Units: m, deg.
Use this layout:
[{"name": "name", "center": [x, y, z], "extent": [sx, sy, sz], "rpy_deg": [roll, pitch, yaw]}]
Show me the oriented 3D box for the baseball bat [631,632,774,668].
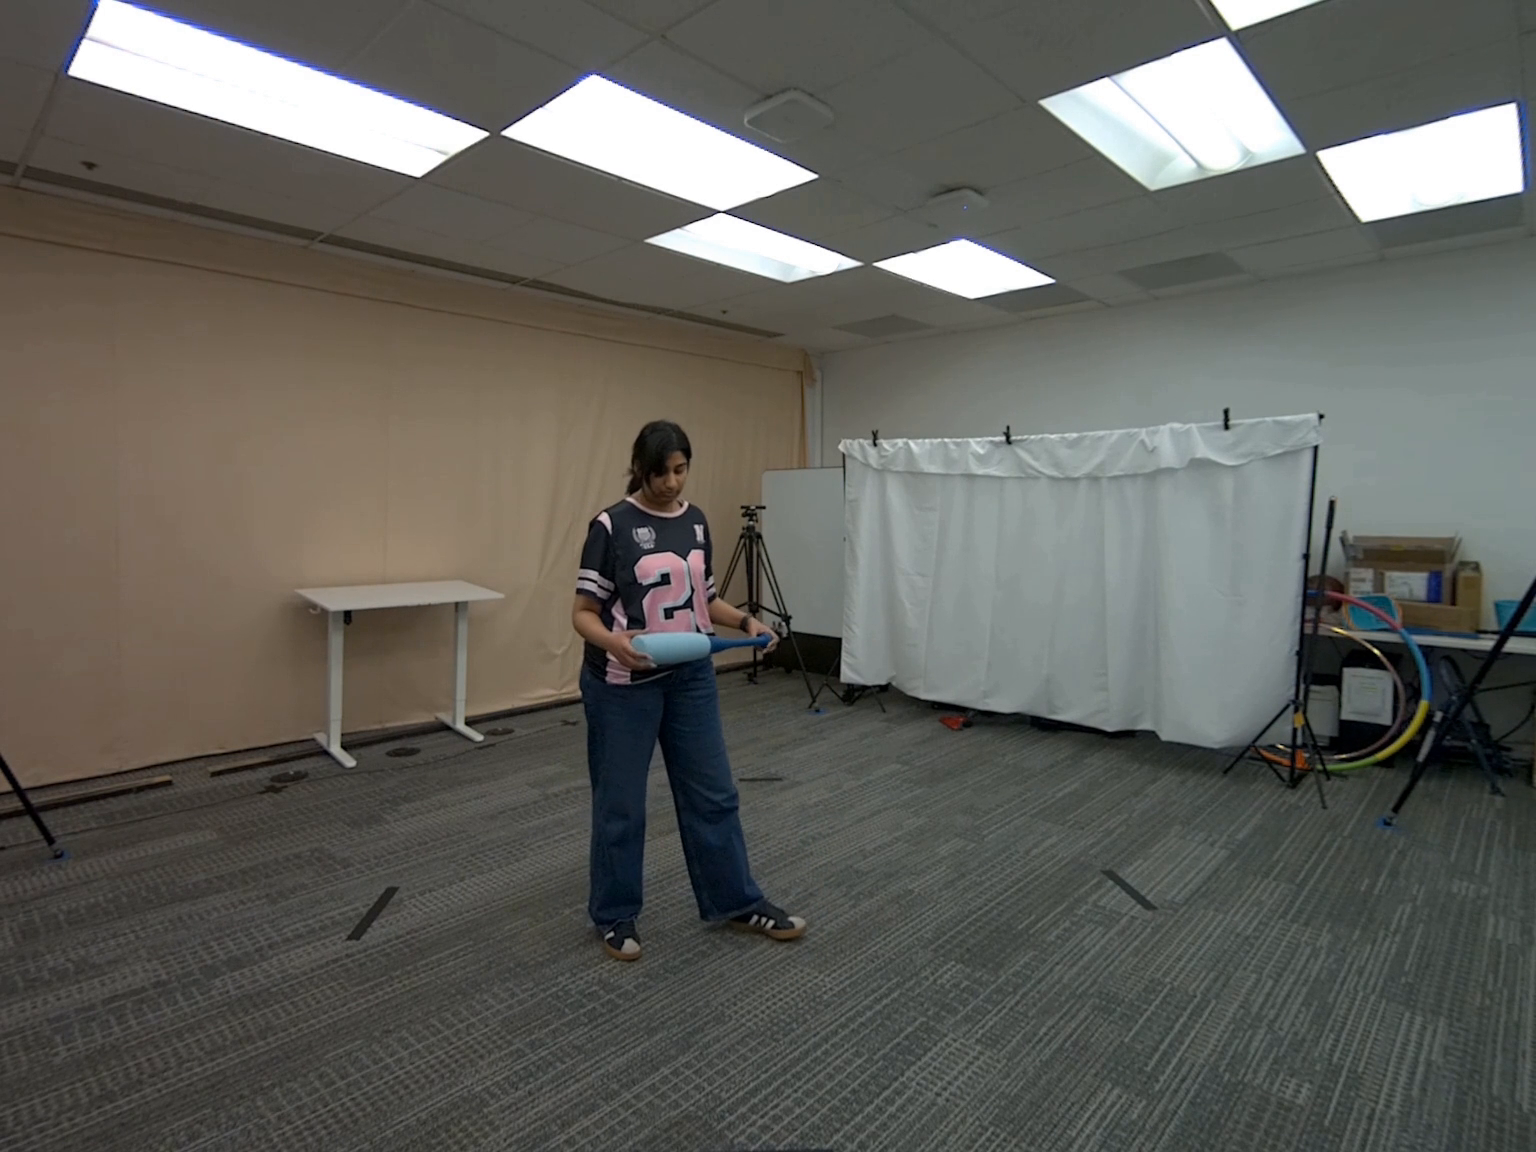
[{"name": "baseball bat", "center": [-0.178, 0.205, 2.479], "extent": [0.092, 0.089, 0.525], "rpy_deg": [4, 3, 44]}]
